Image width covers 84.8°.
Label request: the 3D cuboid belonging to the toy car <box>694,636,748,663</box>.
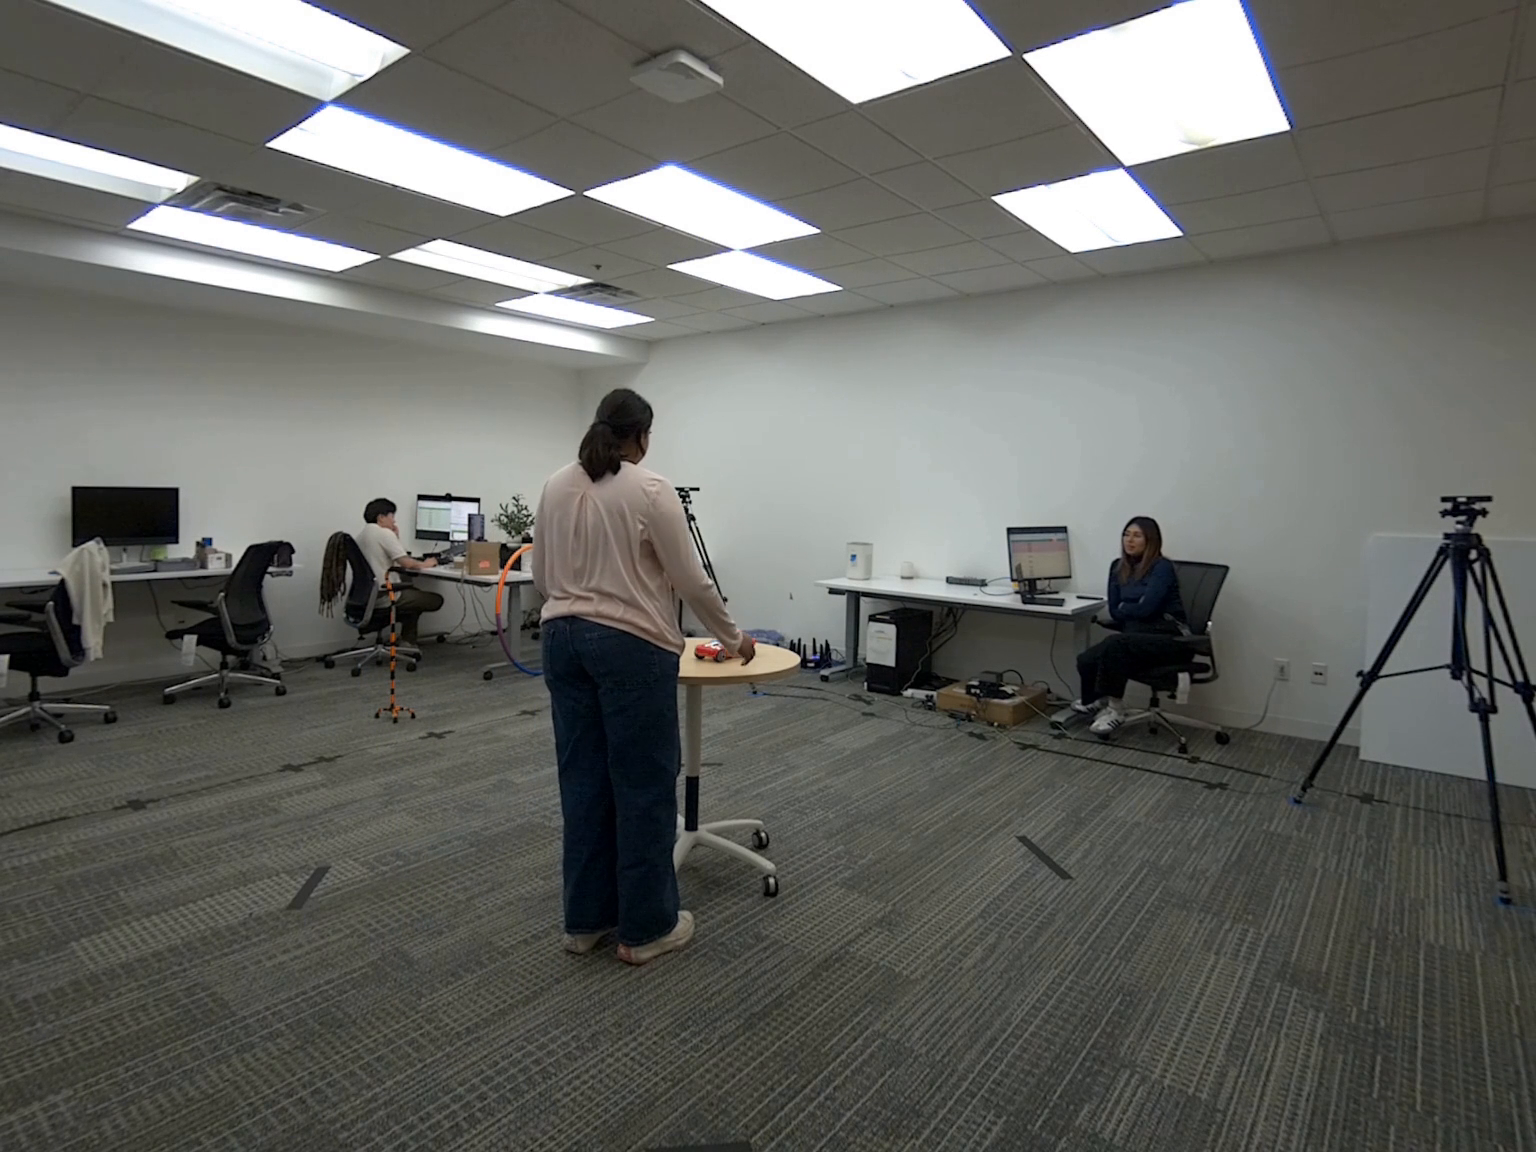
[{"bbox_3d":[-0.159,0.258,3.061,0.134,0.082,0.249,4,16,38],"label":"toy car"}]
